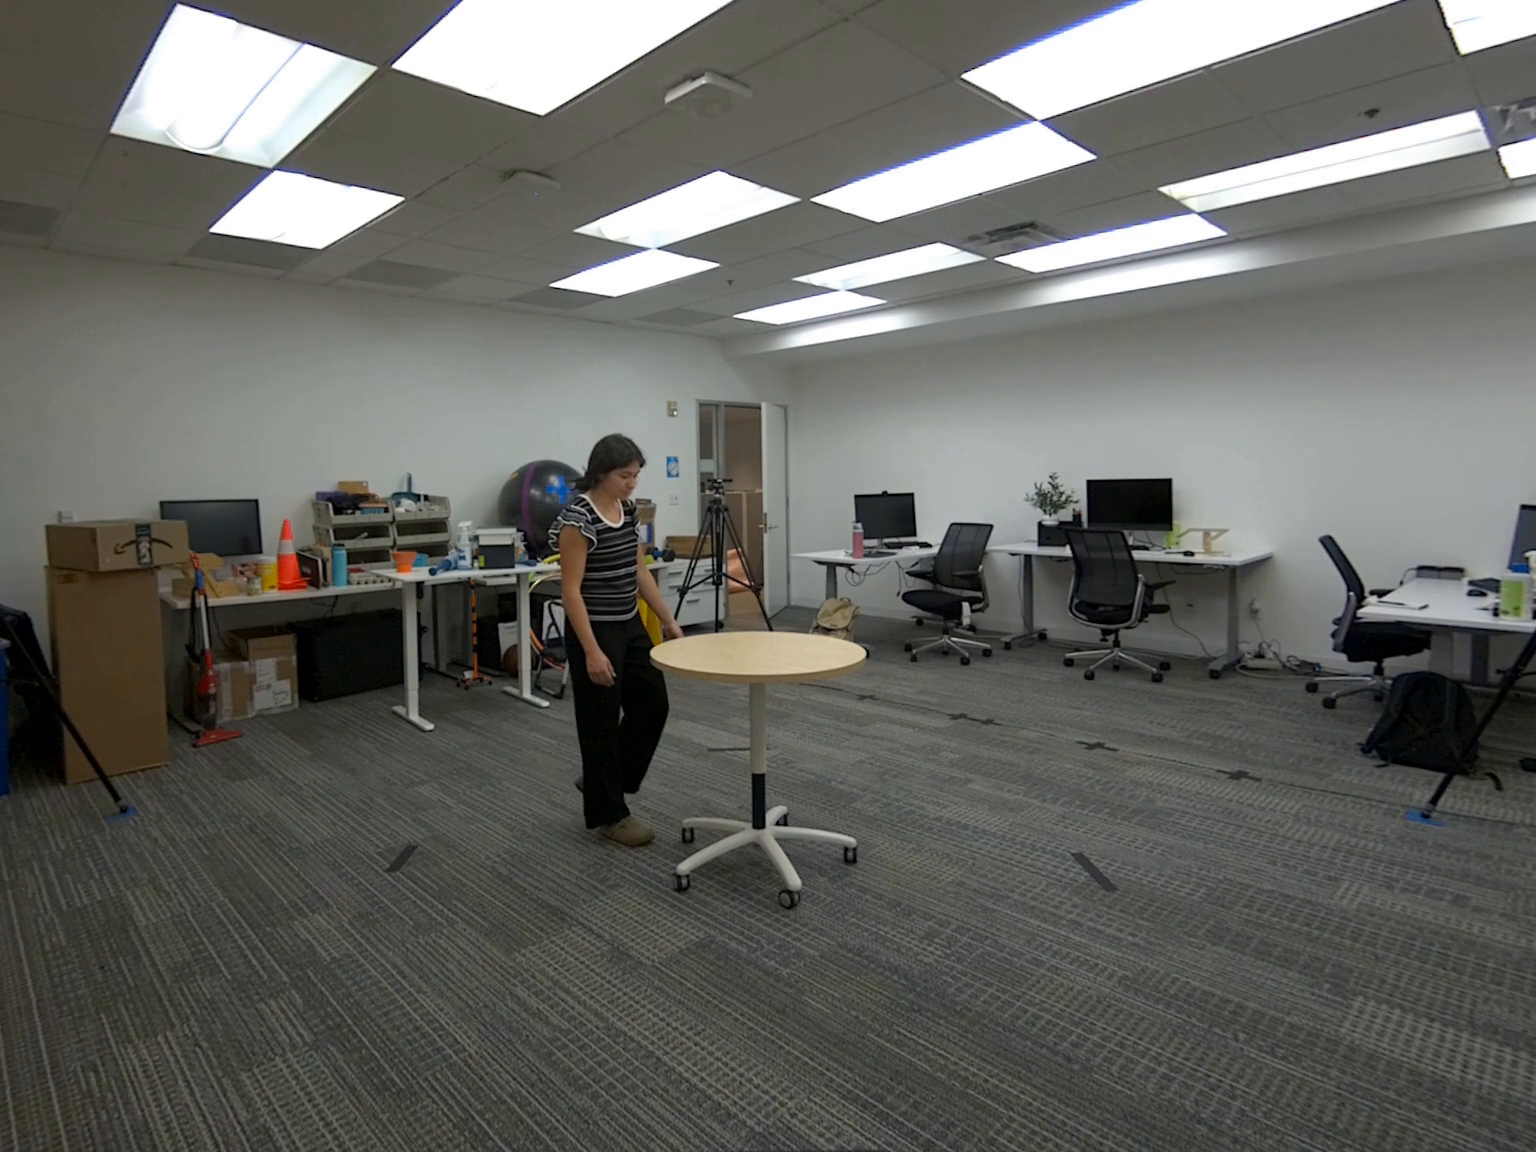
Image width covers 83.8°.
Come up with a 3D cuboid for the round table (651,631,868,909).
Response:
[{"bbox_3d":[-0.034,0.658,3.064,0.763,0.791,0.768,-1,5,-2],"label":"round table"}]
